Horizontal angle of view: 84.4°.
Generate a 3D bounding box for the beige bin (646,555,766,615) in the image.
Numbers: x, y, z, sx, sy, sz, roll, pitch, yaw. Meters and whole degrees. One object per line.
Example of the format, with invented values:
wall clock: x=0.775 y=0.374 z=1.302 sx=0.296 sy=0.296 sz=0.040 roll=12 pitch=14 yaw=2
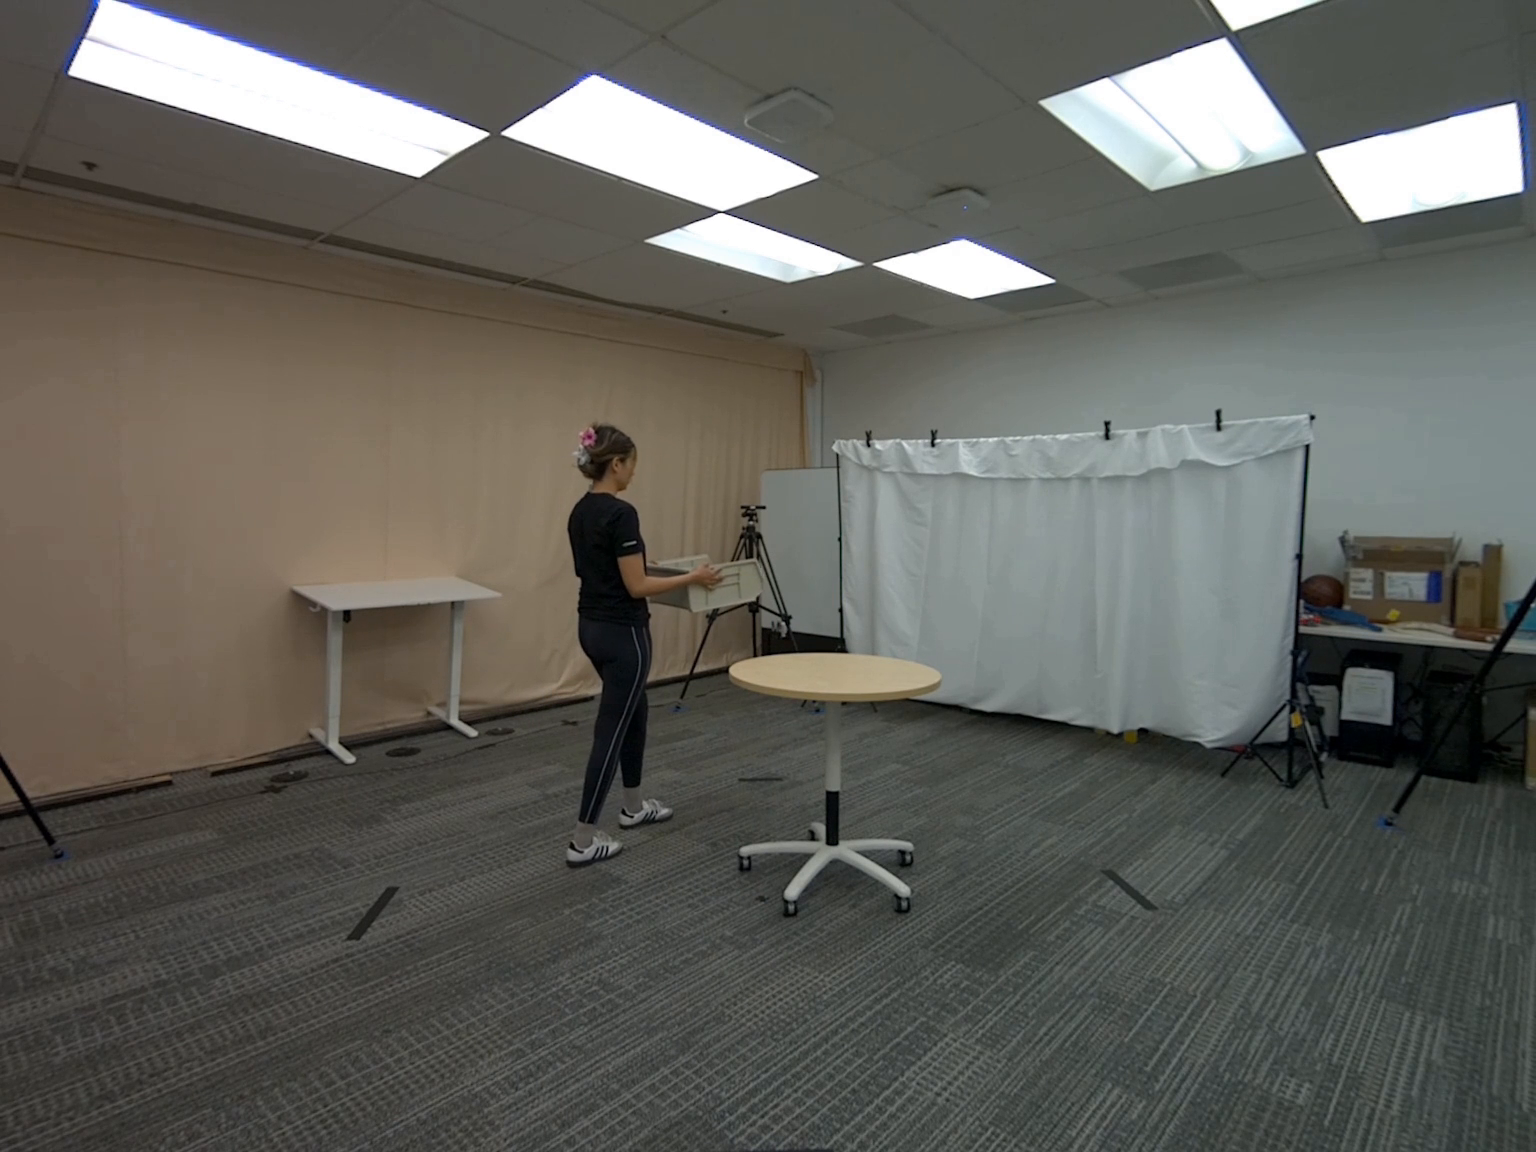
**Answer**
beige bin: x=-0.281 y=0.022 z=3.688 sx=0.368 sy=0.188 sz=0.435 roll=-12 pitch=10 yaw=-32
